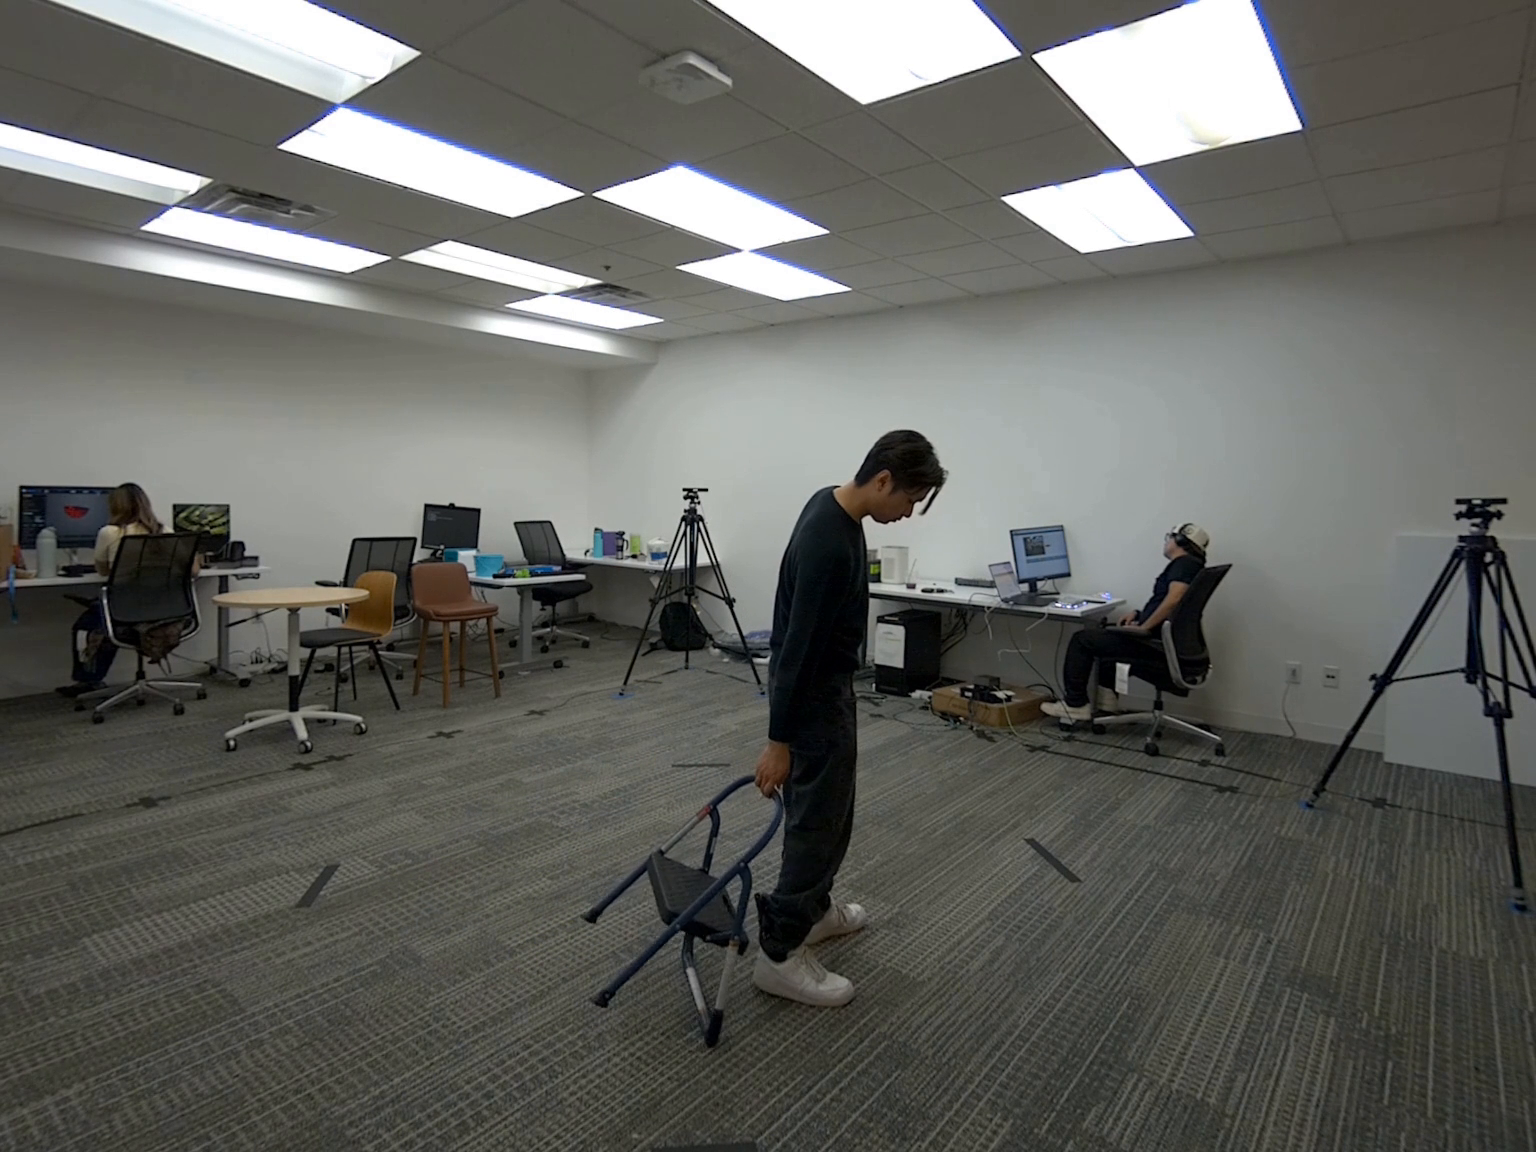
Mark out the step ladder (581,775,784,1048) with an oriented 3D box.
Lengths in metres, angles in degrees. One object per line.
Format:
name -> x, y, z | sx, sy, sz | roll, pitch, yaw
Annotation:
step ladder -> -0.195, 0.811, 2.287 | 0.343, 0.606, 0.438 | 29, -2, -14
